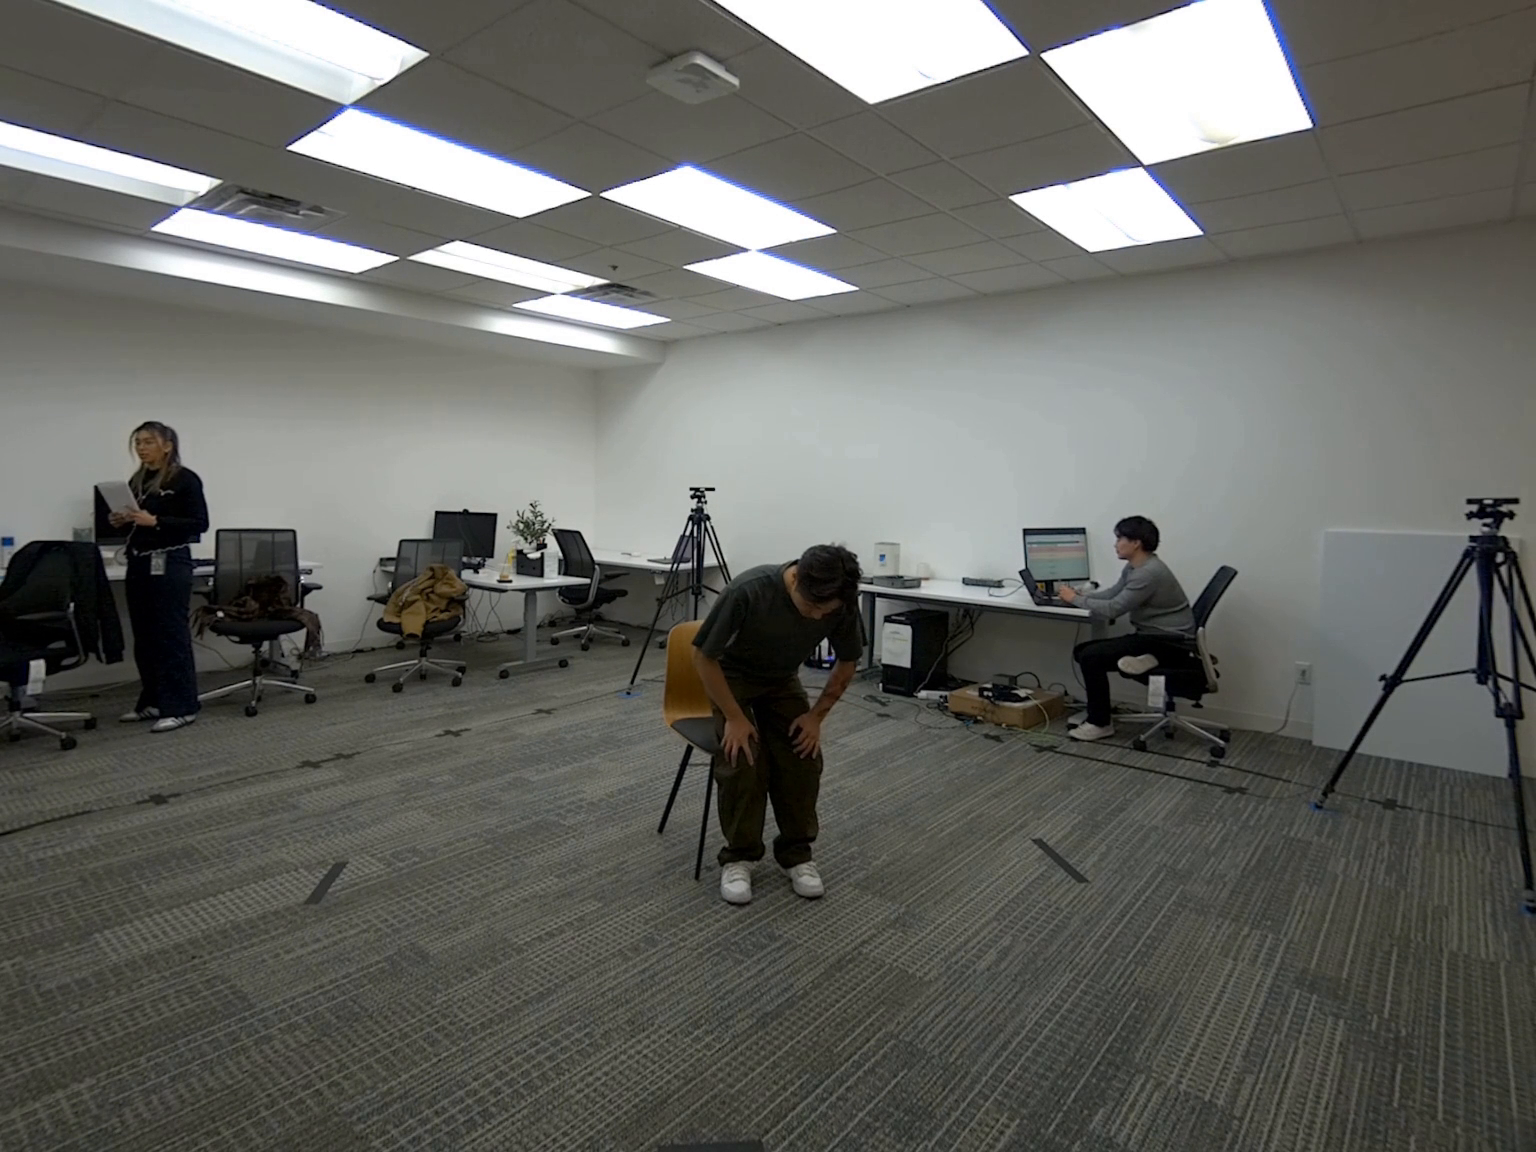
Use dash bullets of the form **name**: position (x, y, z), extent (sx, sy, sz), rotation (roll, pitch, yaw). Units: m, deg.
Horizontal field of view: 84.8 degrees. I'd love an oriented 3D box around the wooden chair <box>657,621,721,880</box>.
- **wooden chair**: position (-0.149, 0.622, 3.270), extent (0.467, 0.878, 0.535), rotation (0, 0, -23)
